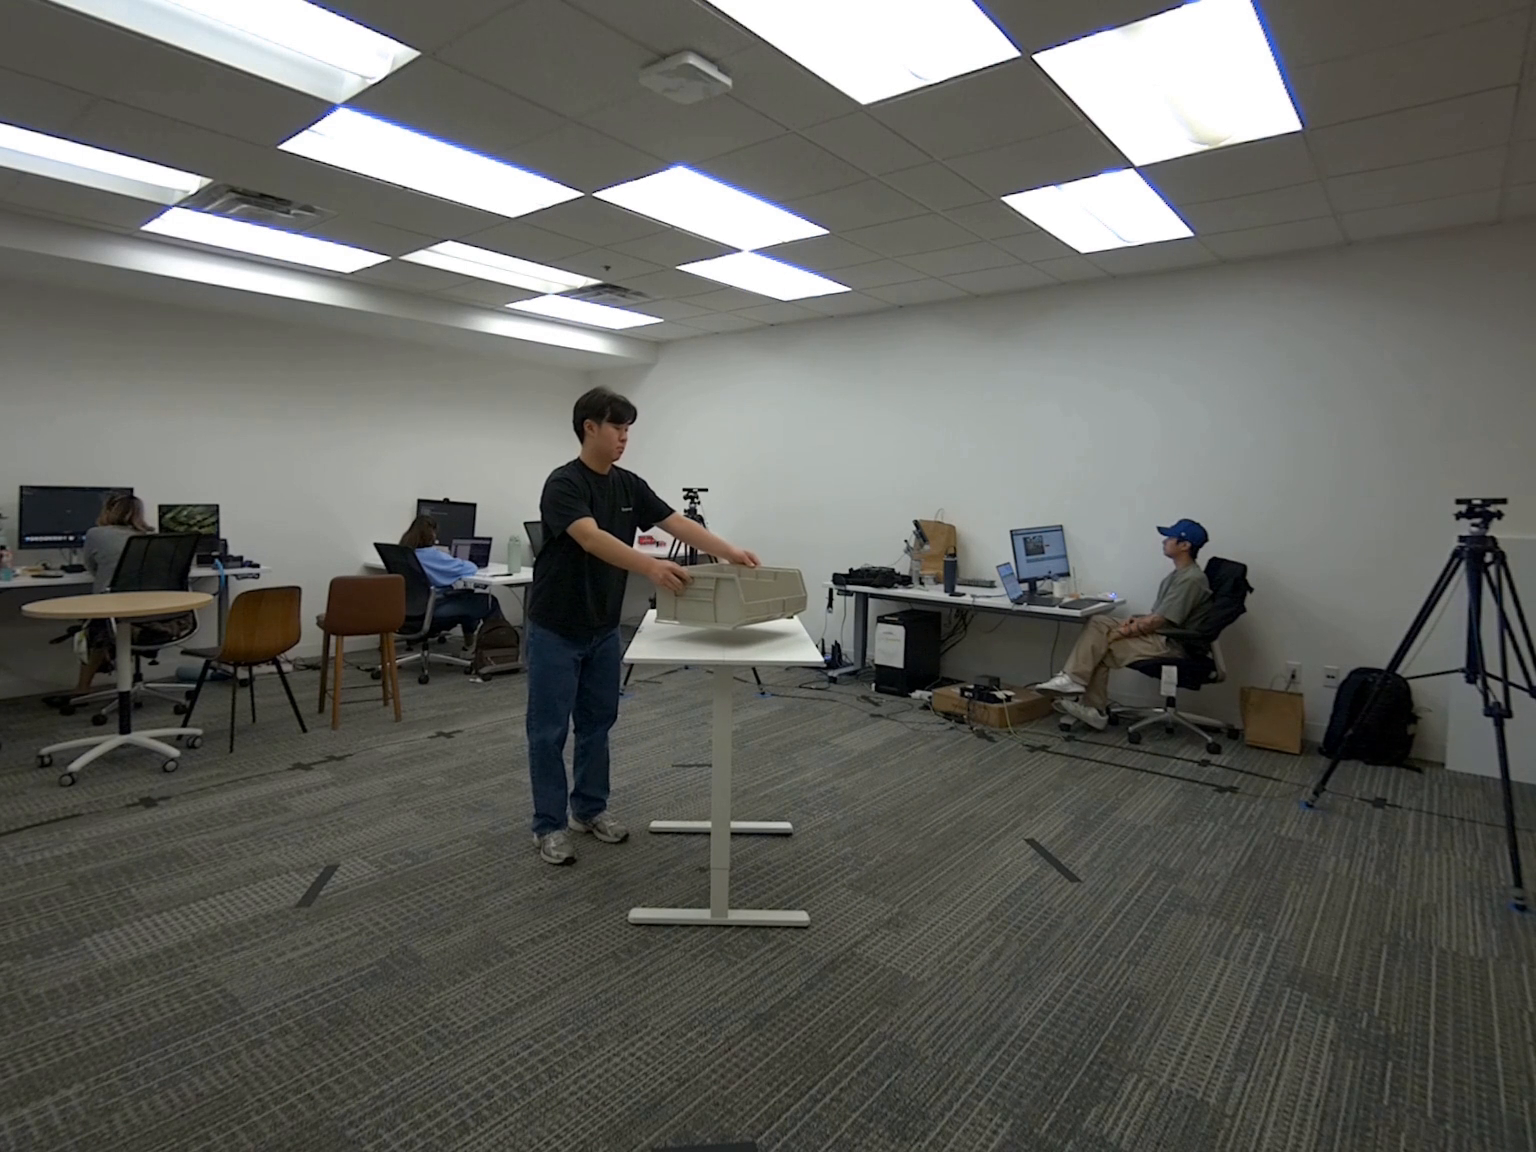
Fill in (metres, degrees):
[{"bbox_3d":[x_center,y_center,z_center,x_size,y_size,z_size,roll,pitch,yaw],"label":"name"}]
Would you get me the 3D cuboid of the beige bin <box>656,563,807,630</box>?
[{"bbox_3d":[-0.138,0.068,2.935,0.389,0.188,0.411,2,4,32],"label":"beige bin"}]
